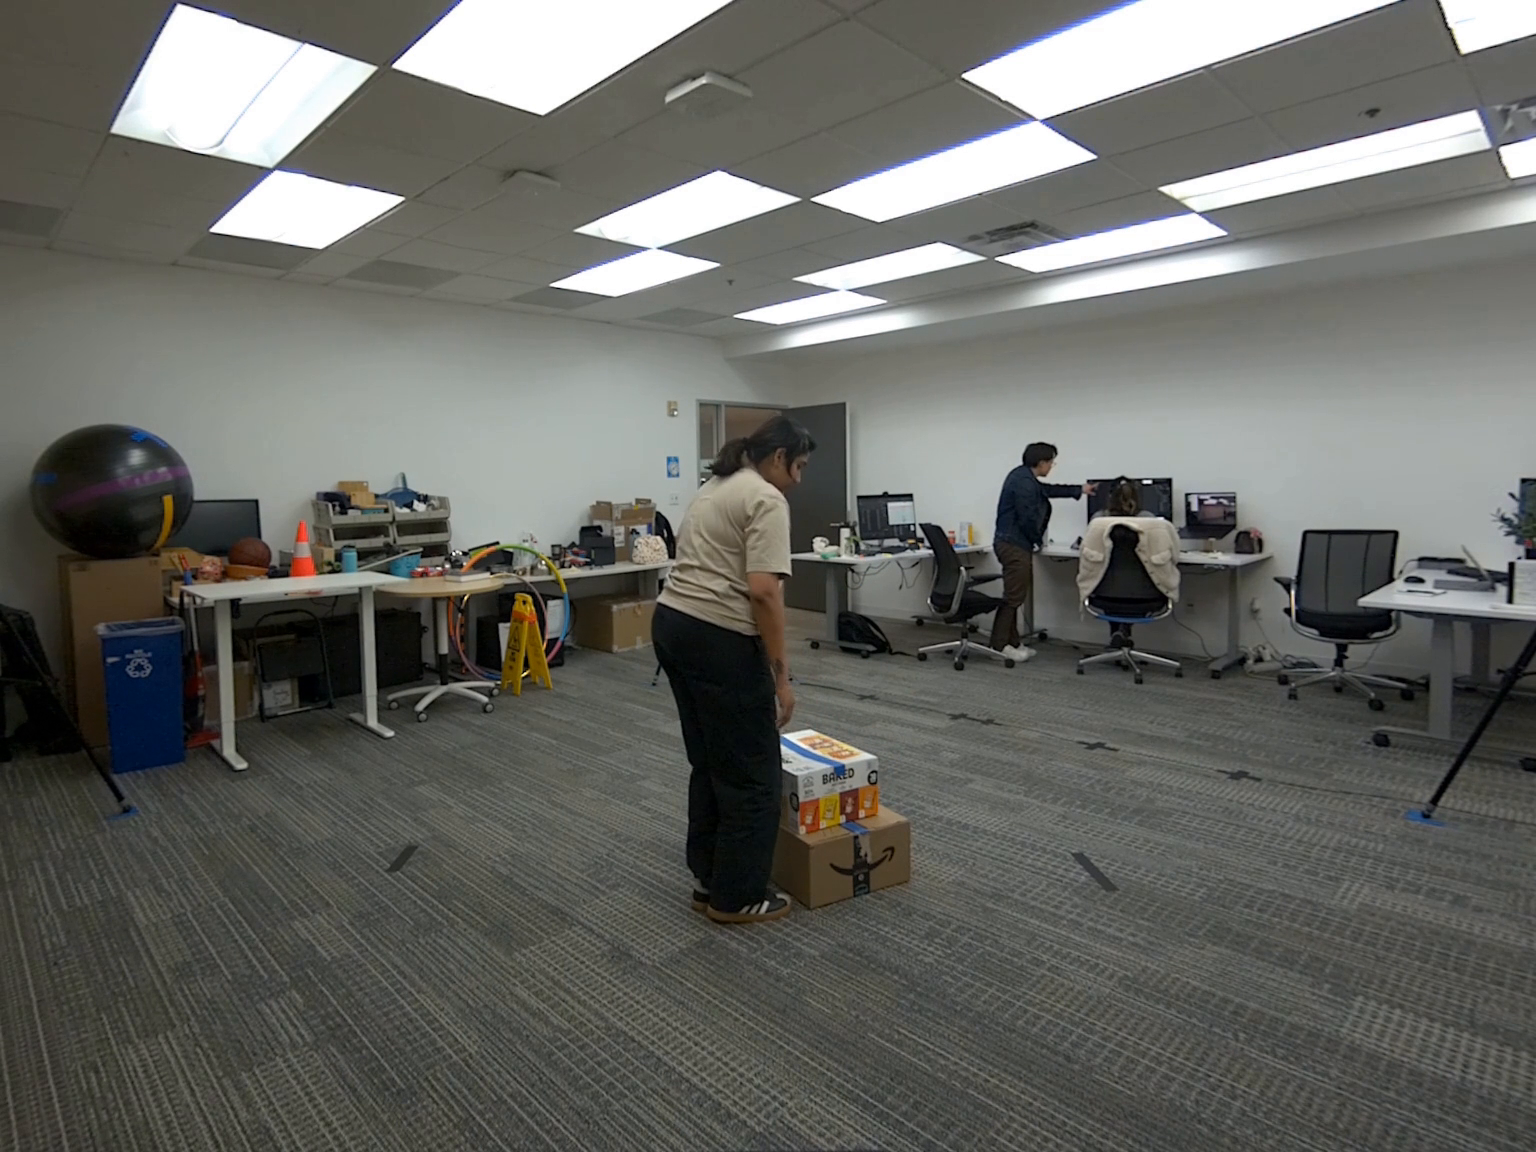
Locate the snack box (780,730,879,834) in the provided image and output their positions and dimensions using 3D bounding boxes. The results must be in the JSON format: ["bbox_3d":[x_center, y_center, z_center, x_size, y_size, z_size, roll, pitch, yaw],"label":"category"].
[{"bbox_3d":[0.134,0.729,3.081,0.332,0.205,0.417,-4,7,-31],"label":"snack box"}]
